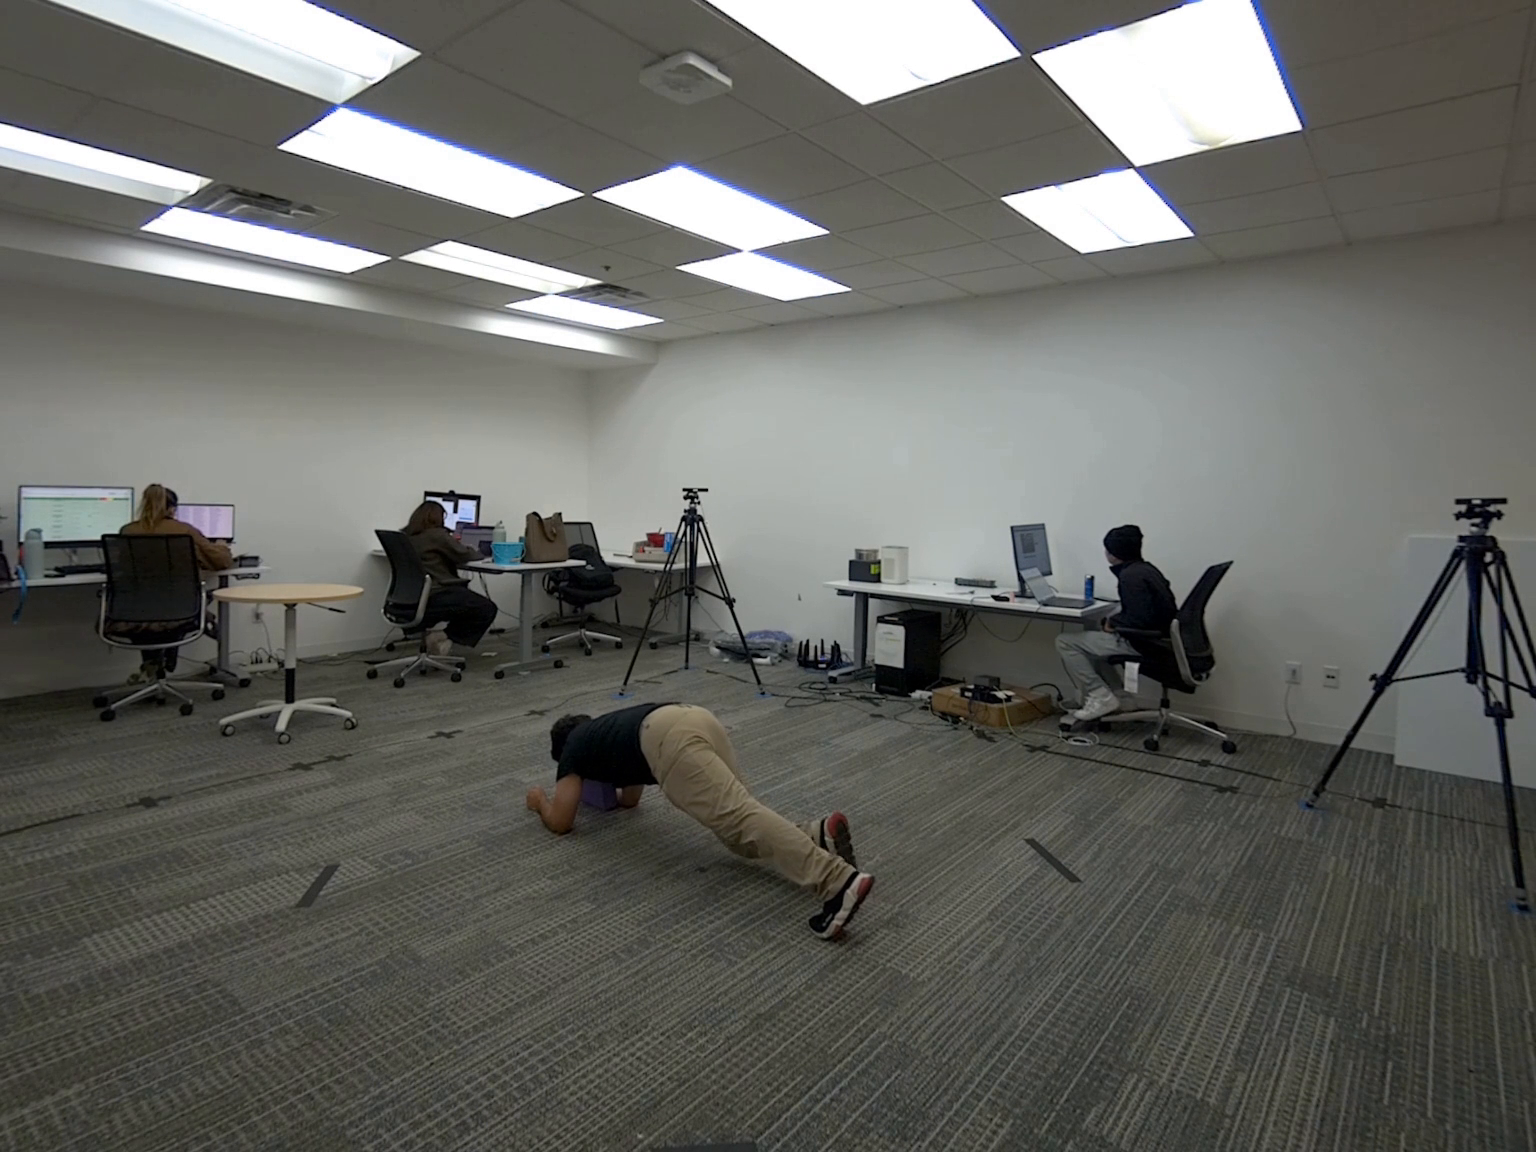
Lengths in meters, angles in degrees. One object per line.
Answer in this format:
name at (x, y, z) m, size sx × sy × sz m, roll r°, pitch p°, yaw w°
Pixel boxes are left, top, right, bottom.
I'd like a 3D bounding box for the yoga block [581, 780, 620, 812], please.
yoga block at (-0.773, 0.922, 3.744) m, size 0.237 × 0.147 × 0.074 m, roll 8°, pitch 14°, yaw 43°
